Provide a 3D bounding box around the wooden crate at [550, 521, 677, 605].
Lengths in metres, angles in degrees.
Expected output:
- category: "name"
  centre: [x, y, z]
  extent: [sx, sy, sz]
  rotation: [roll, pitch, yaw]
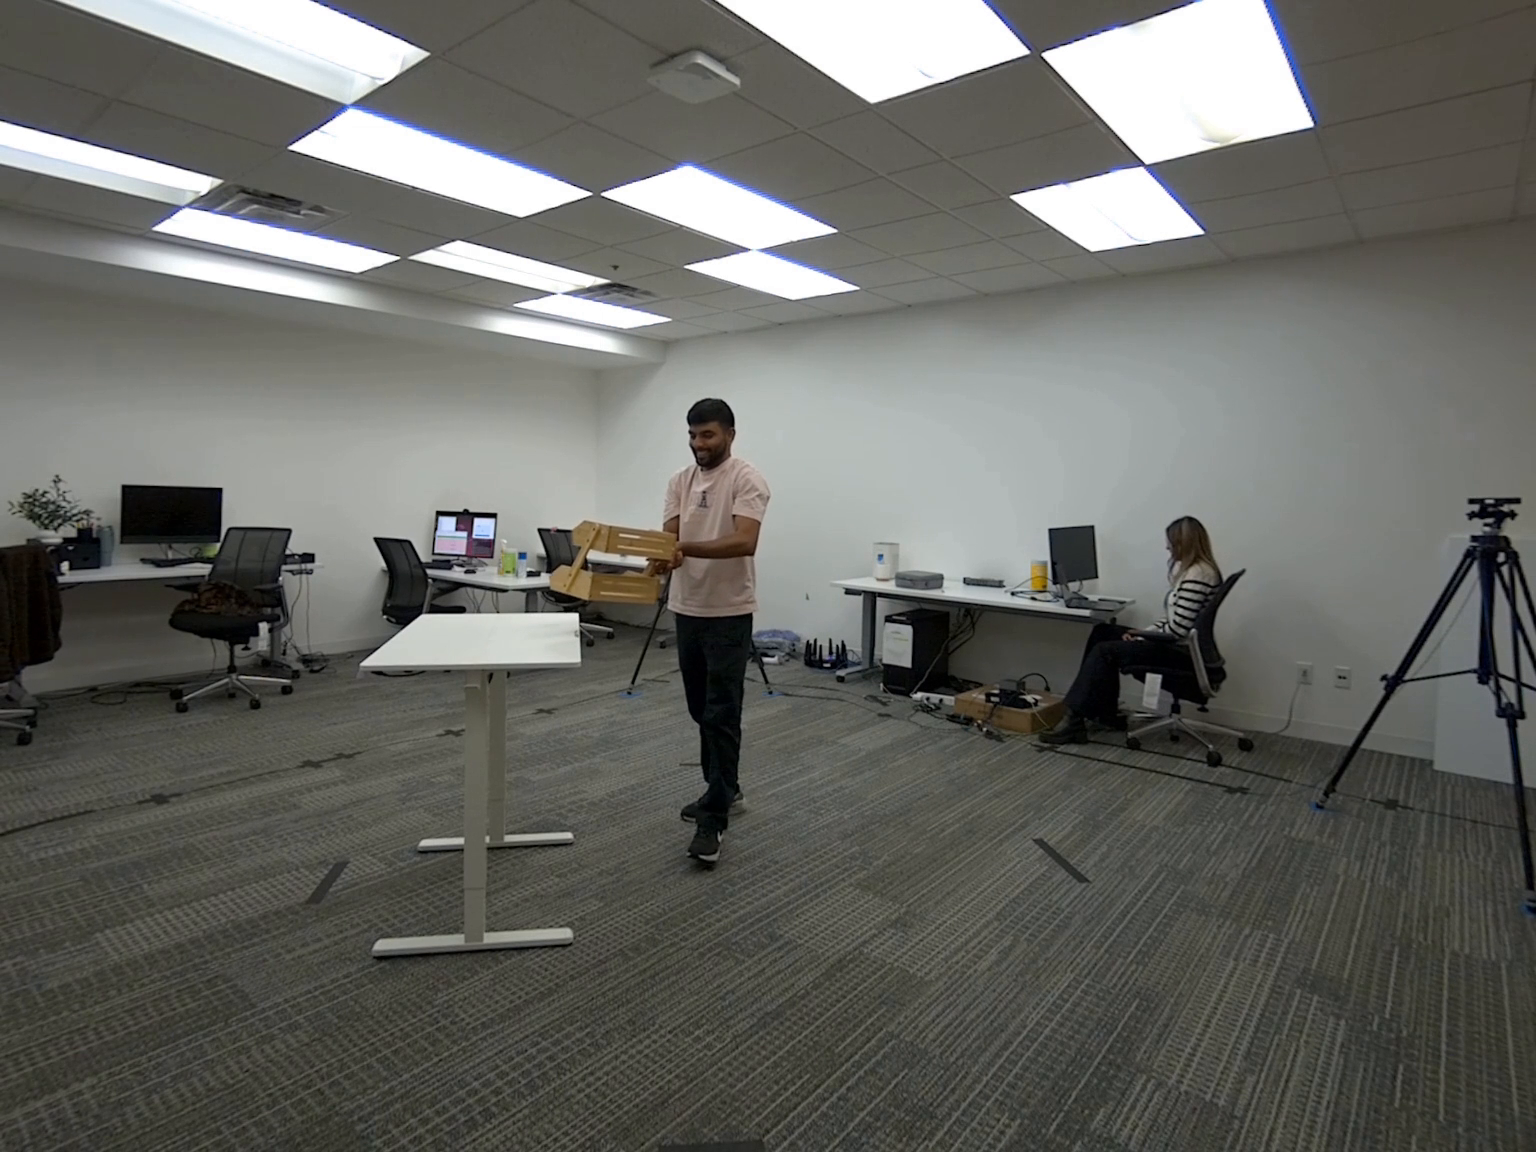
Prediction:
- category: "wooden crate"
  centre: [-0.560, -0.058, 3.003]
  extent: [0.313, 0.273, 0.313]
  rotation: [11, 3, 44]
